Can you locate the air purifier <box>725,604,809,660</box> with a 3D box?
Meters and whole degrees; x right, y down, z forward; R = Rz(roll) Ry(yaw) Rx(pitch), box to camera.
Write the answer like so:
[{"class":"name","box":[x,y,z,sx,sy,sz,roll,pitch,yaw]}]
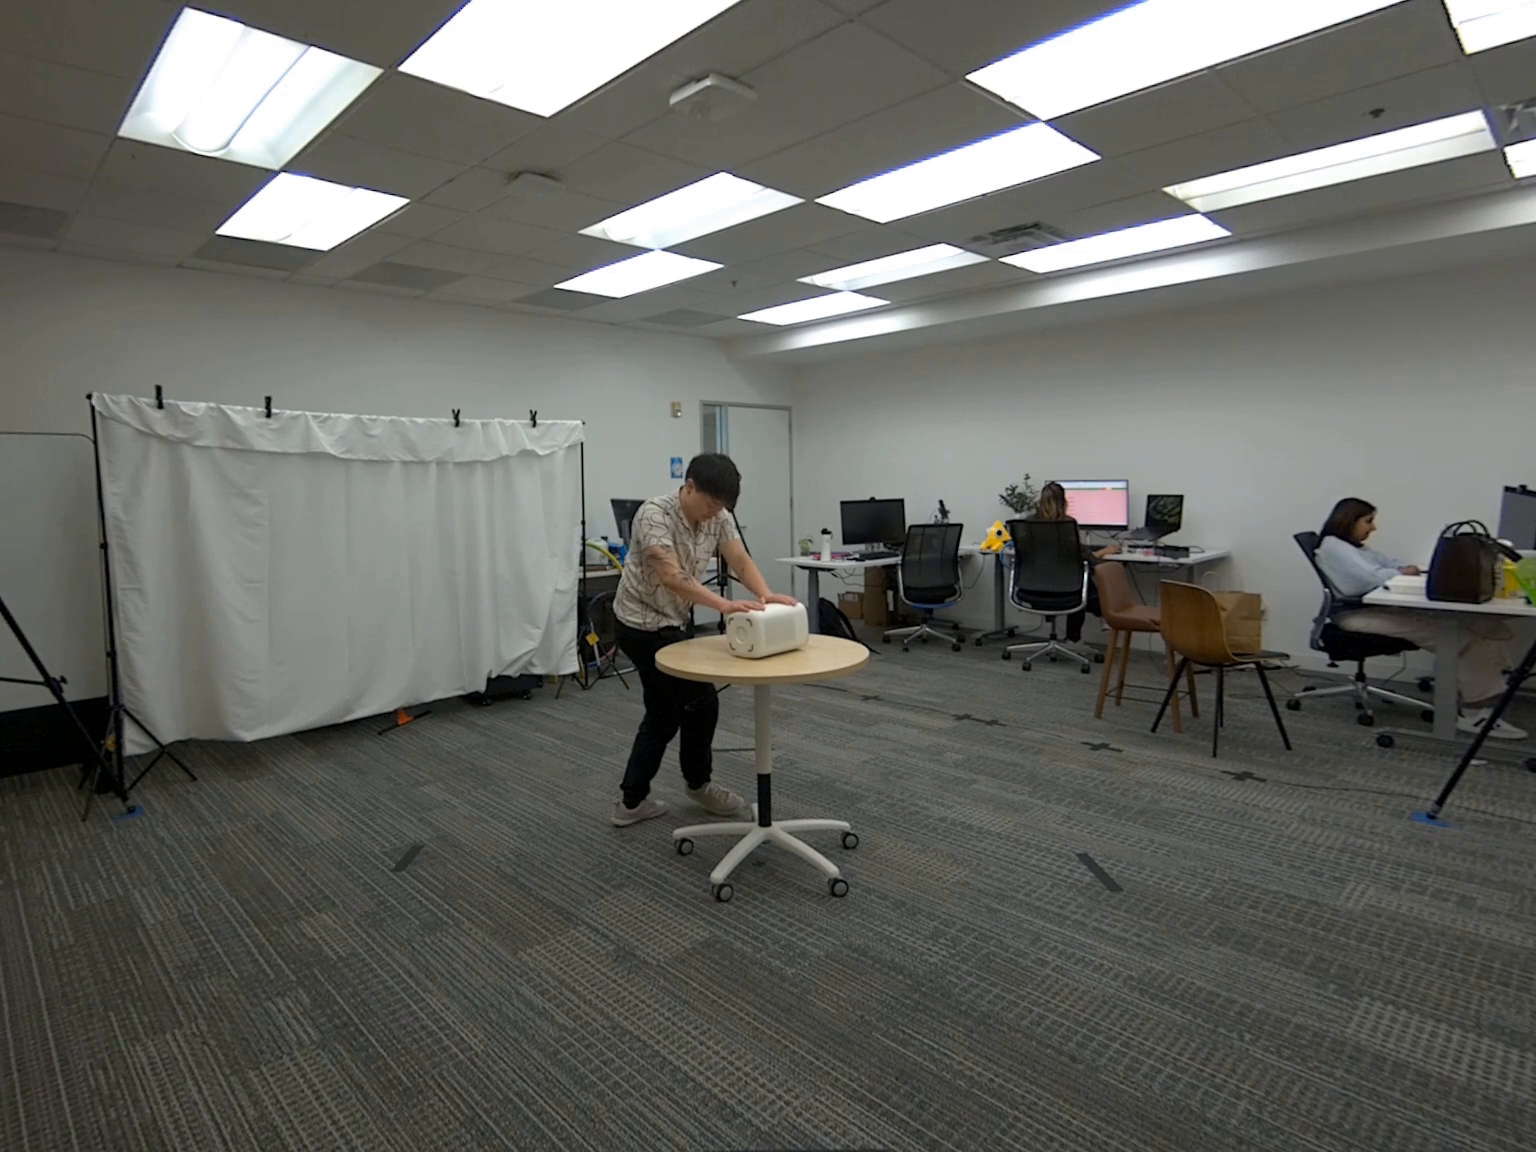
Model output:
[{"class":"air purifier","box":[-0.003,0.187,3.051,0.176,0.171,0.258,-1,4,45]}]
